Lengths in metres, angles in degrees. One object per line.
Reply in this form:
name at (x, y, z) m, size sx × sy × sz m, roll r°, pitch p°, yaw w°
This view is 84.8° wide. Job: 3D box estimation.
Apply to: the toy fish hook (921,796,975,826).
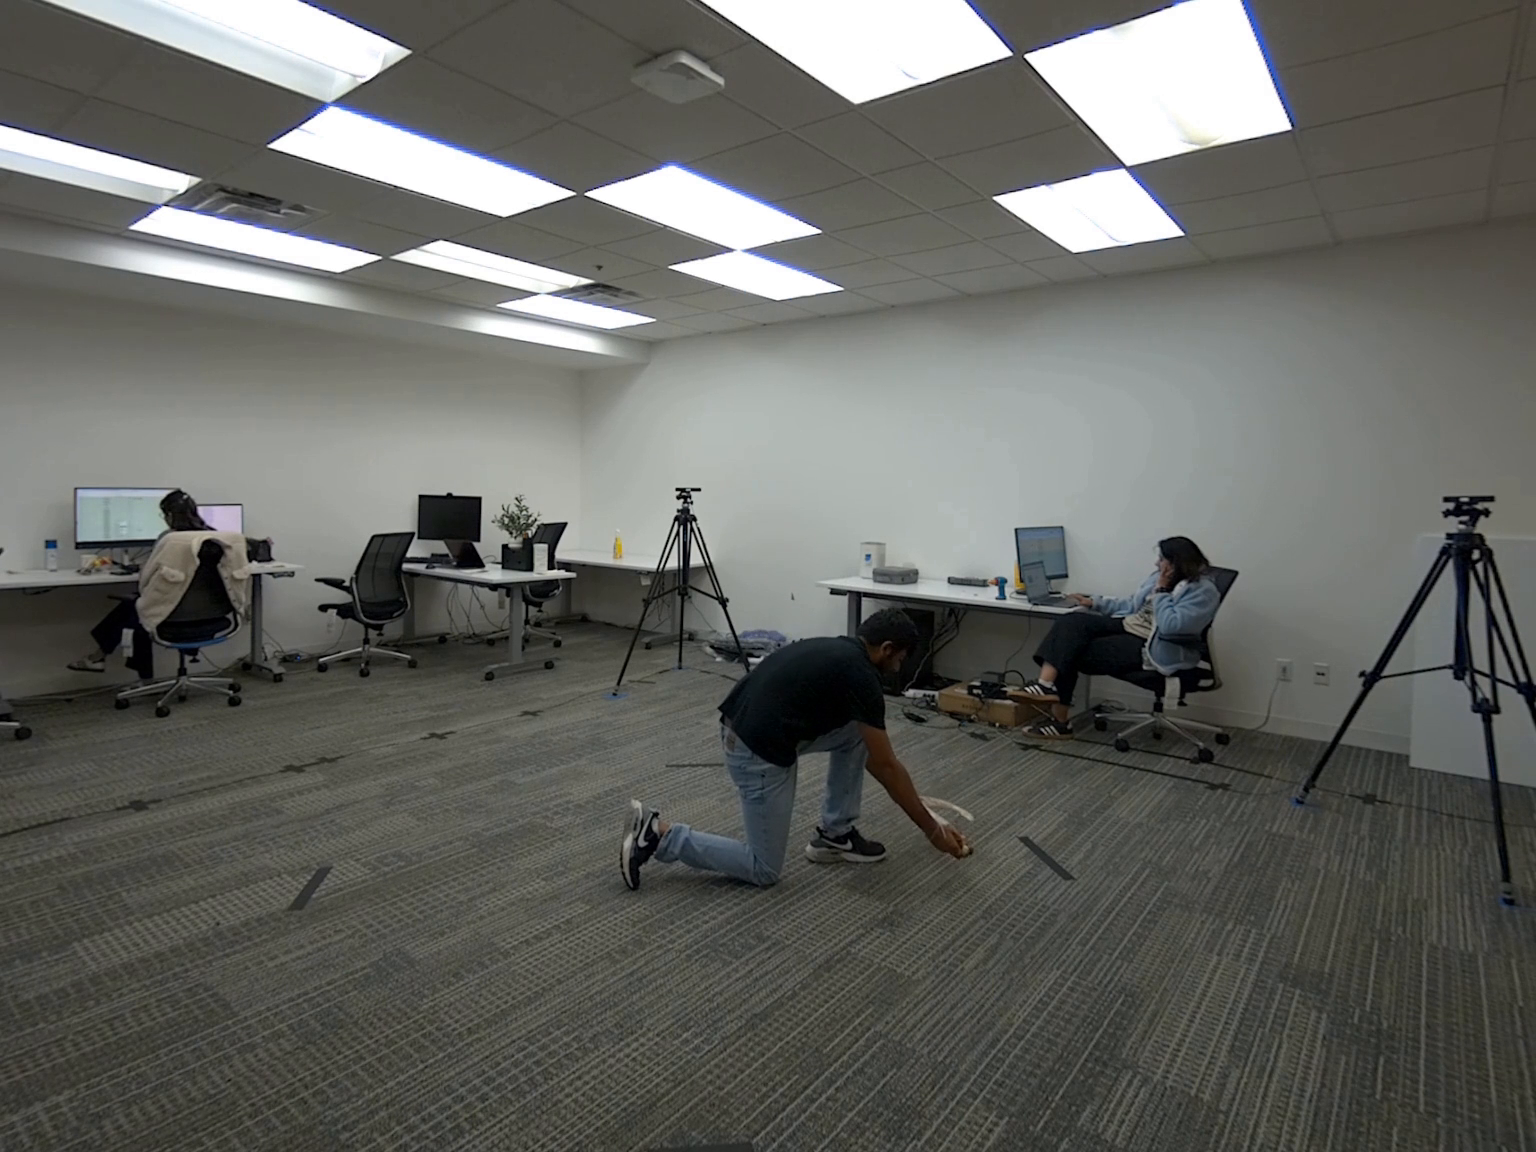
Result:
toy fish hook at (0.692, 0.922, 3.170) m, size 0.223 × 0.048 × 0.513 m, roll 4°, pitch 6°, yaw -9°
